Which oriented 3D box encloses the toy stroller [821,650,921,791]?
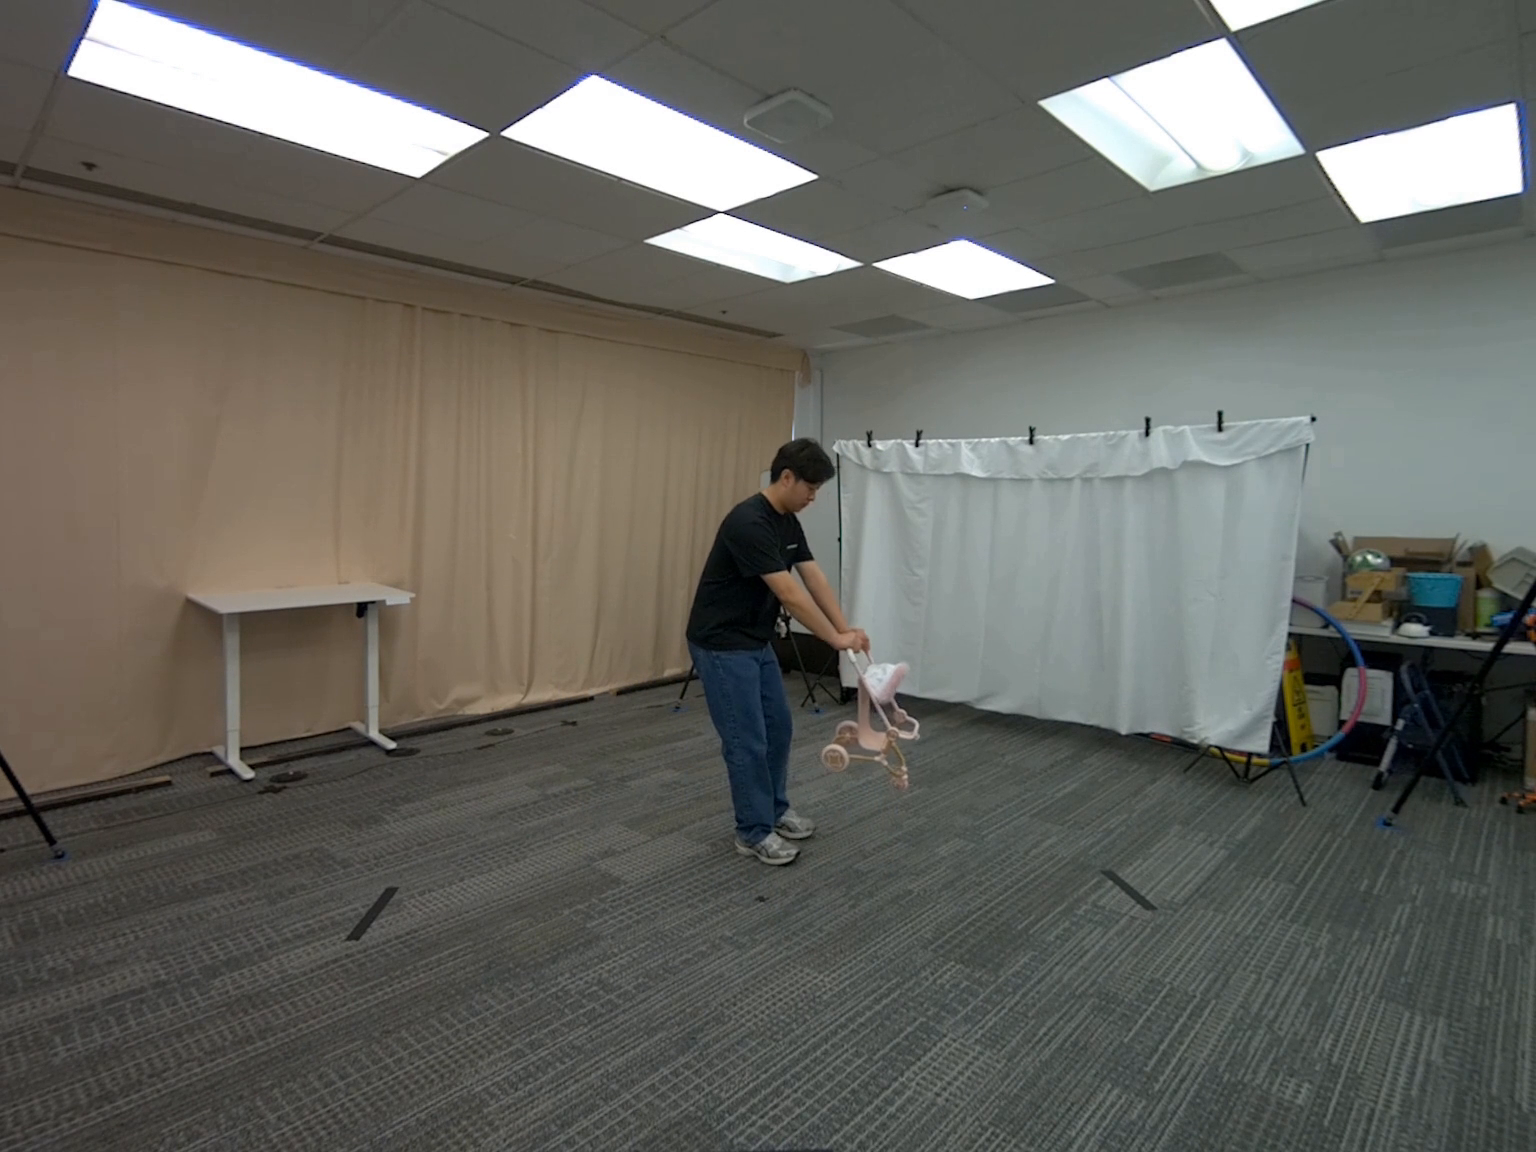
[{"bbox_3d":[0.419,0.545,3.199,0.350,0.532,0.276,15,14,21],"label":"toy stroller"}]
